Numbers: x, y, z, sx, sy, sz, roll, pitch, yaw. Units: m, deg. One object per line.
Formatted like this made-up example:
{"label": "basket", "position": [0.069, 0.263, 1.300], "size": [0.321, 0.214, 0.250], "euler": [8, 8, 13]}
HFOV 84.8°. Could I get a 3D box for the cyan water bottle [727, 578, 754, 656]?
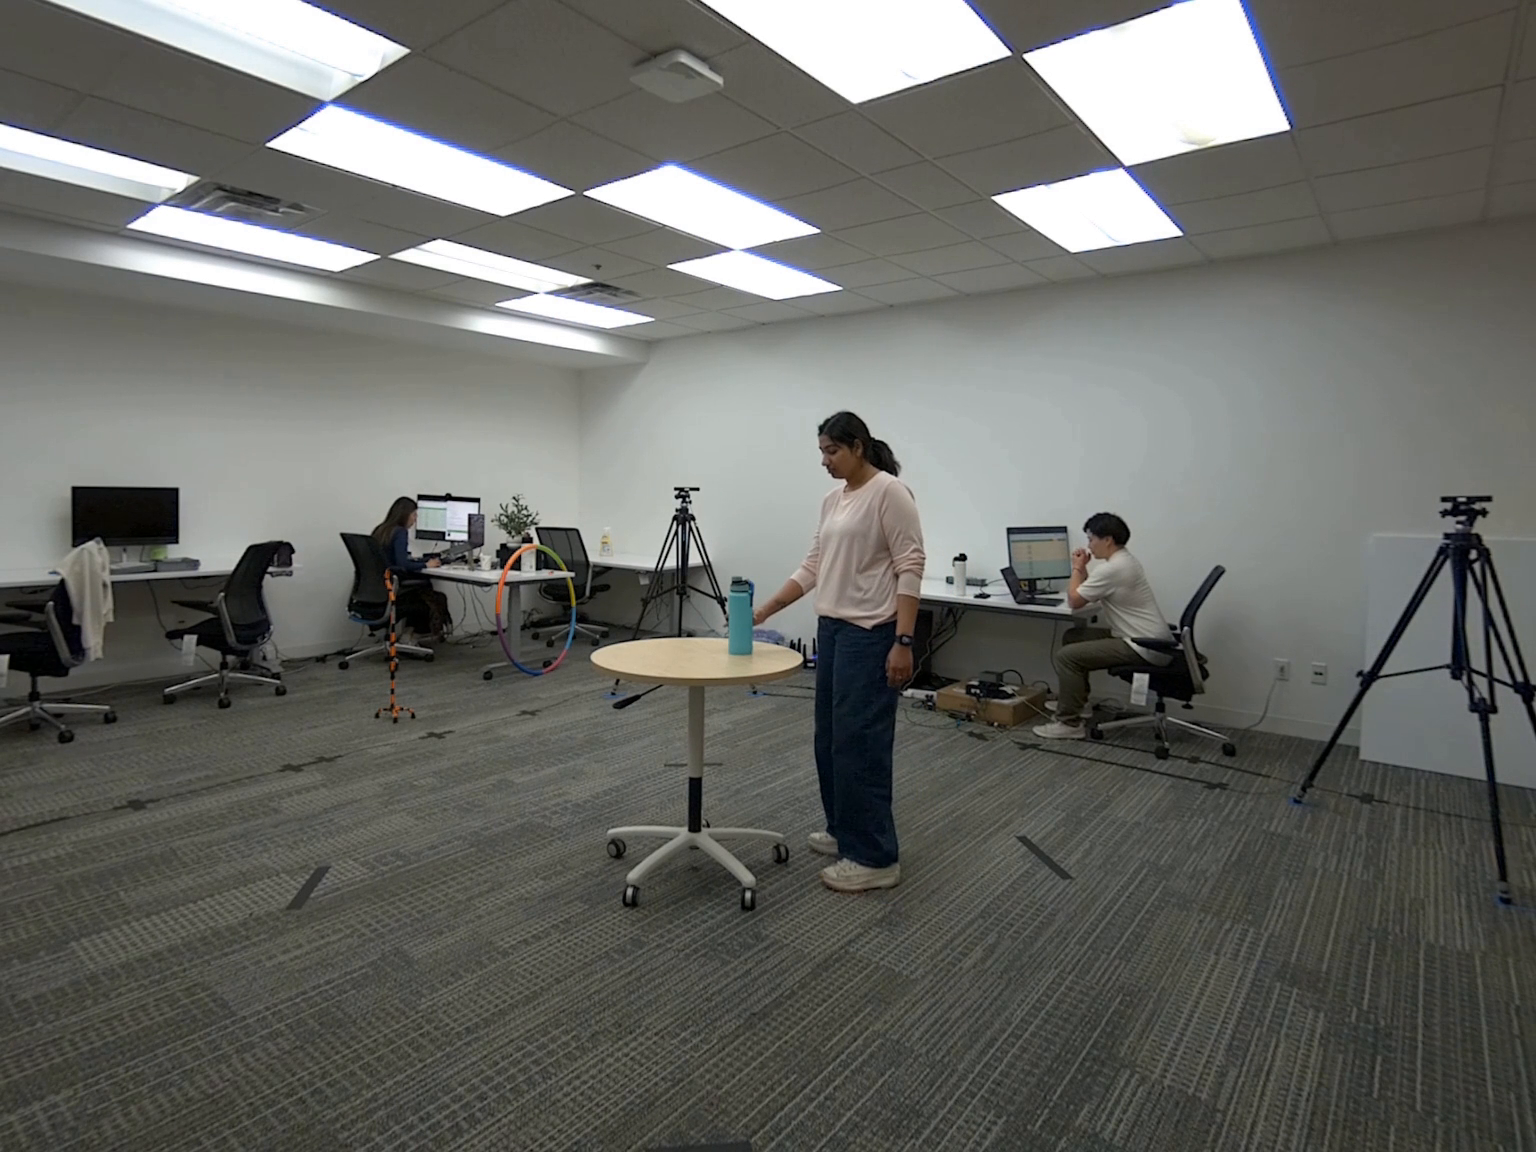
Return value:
{"label": "cyan water bottle", "position": [-0.104, 0.141, 3.138], "size": [0.092, 0.283, 0.092], "euler": [2, 1, -2]}
